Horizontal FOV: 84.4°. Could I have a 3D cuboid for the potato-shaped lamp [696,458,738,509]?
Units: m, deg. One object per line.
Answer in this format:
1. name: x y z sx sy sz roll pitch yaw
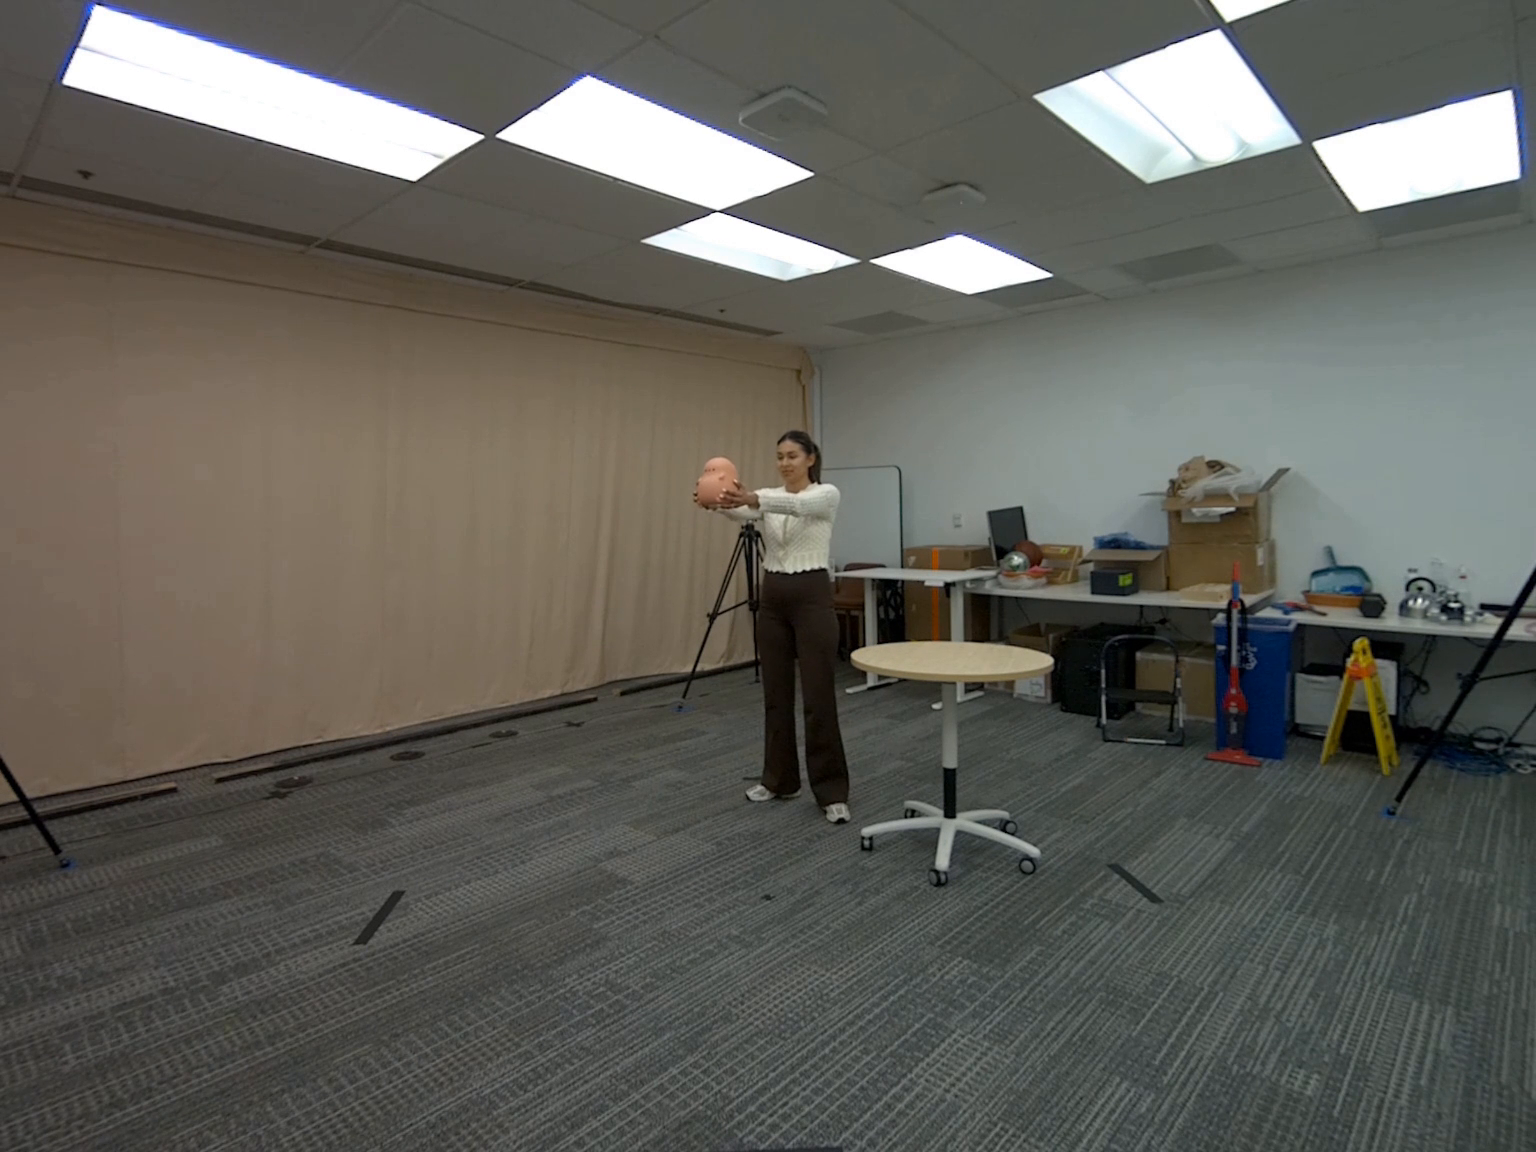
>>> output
1. potato-shaped lamp: -0.197 -0.373 3.378 0.170 0.198 0.166 -4 -3 43
